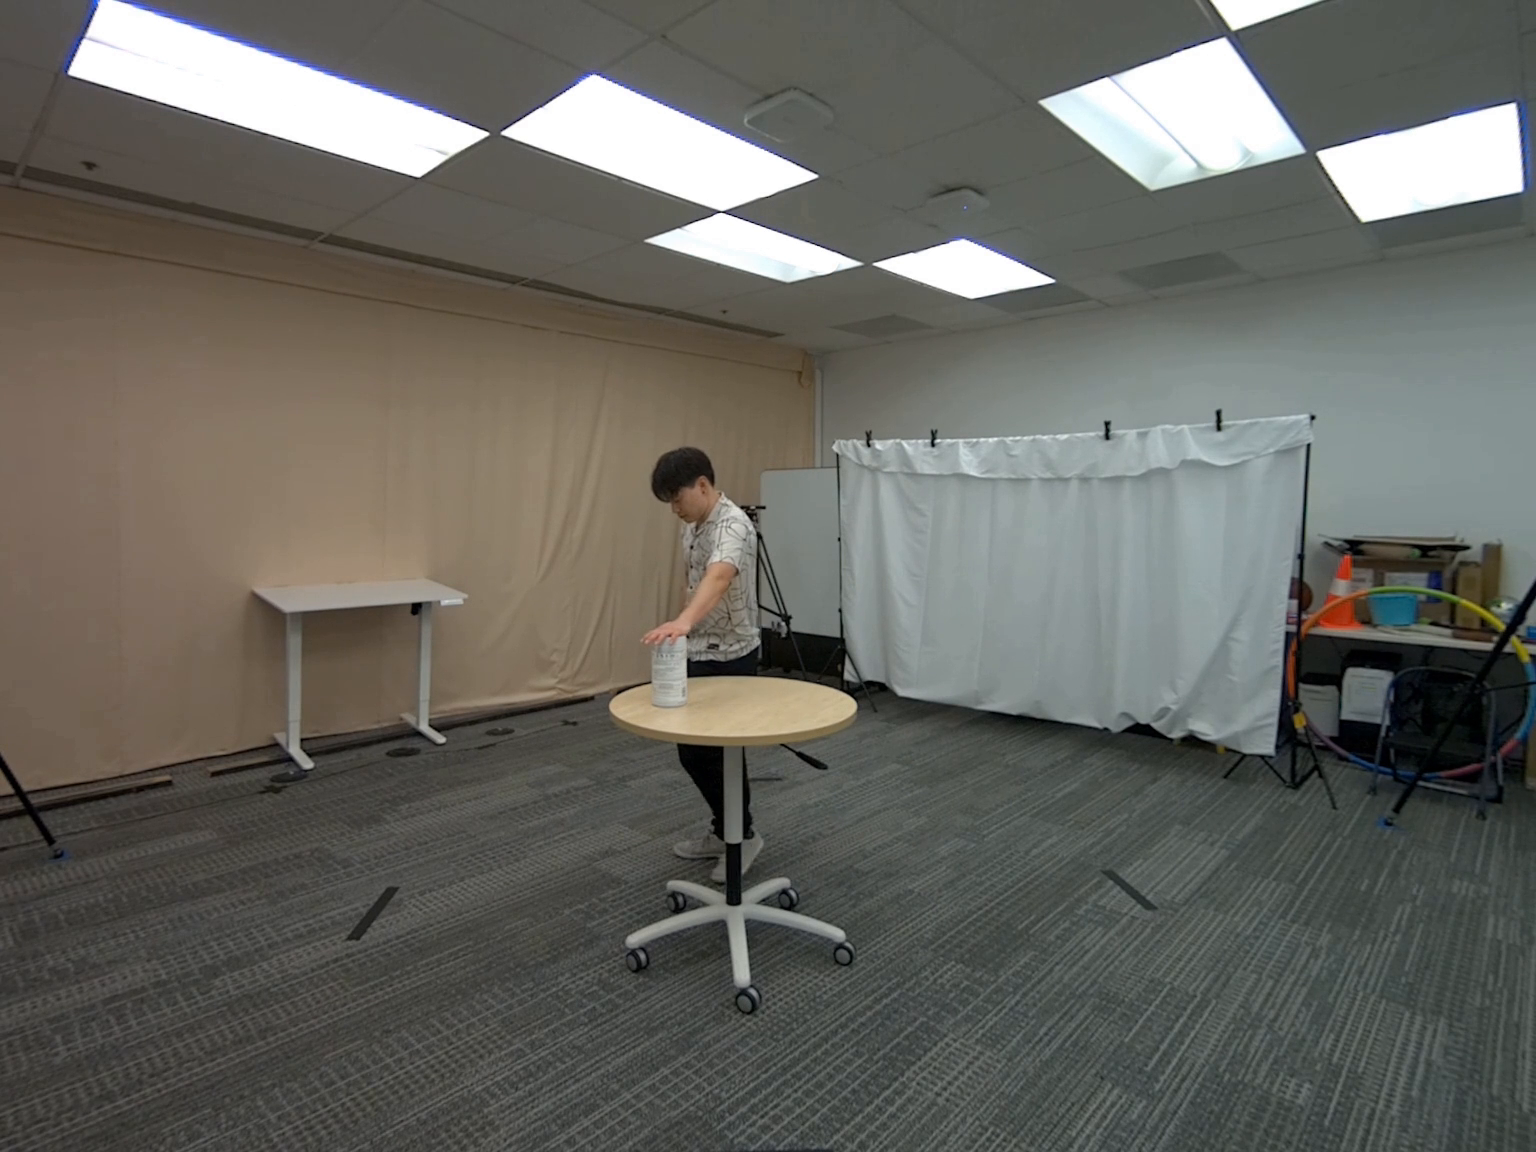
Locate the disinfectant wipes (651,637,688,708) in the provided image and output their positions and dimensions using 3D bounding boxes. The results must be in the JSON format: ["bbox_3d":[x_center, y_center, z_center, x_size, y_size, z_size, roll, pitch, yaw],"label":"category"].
[{"bbox_3d":[-0.303,0.290,2.603,0.118,0.217,0.118,-1,2,-2],"label":"disinfectant wipes"}]
